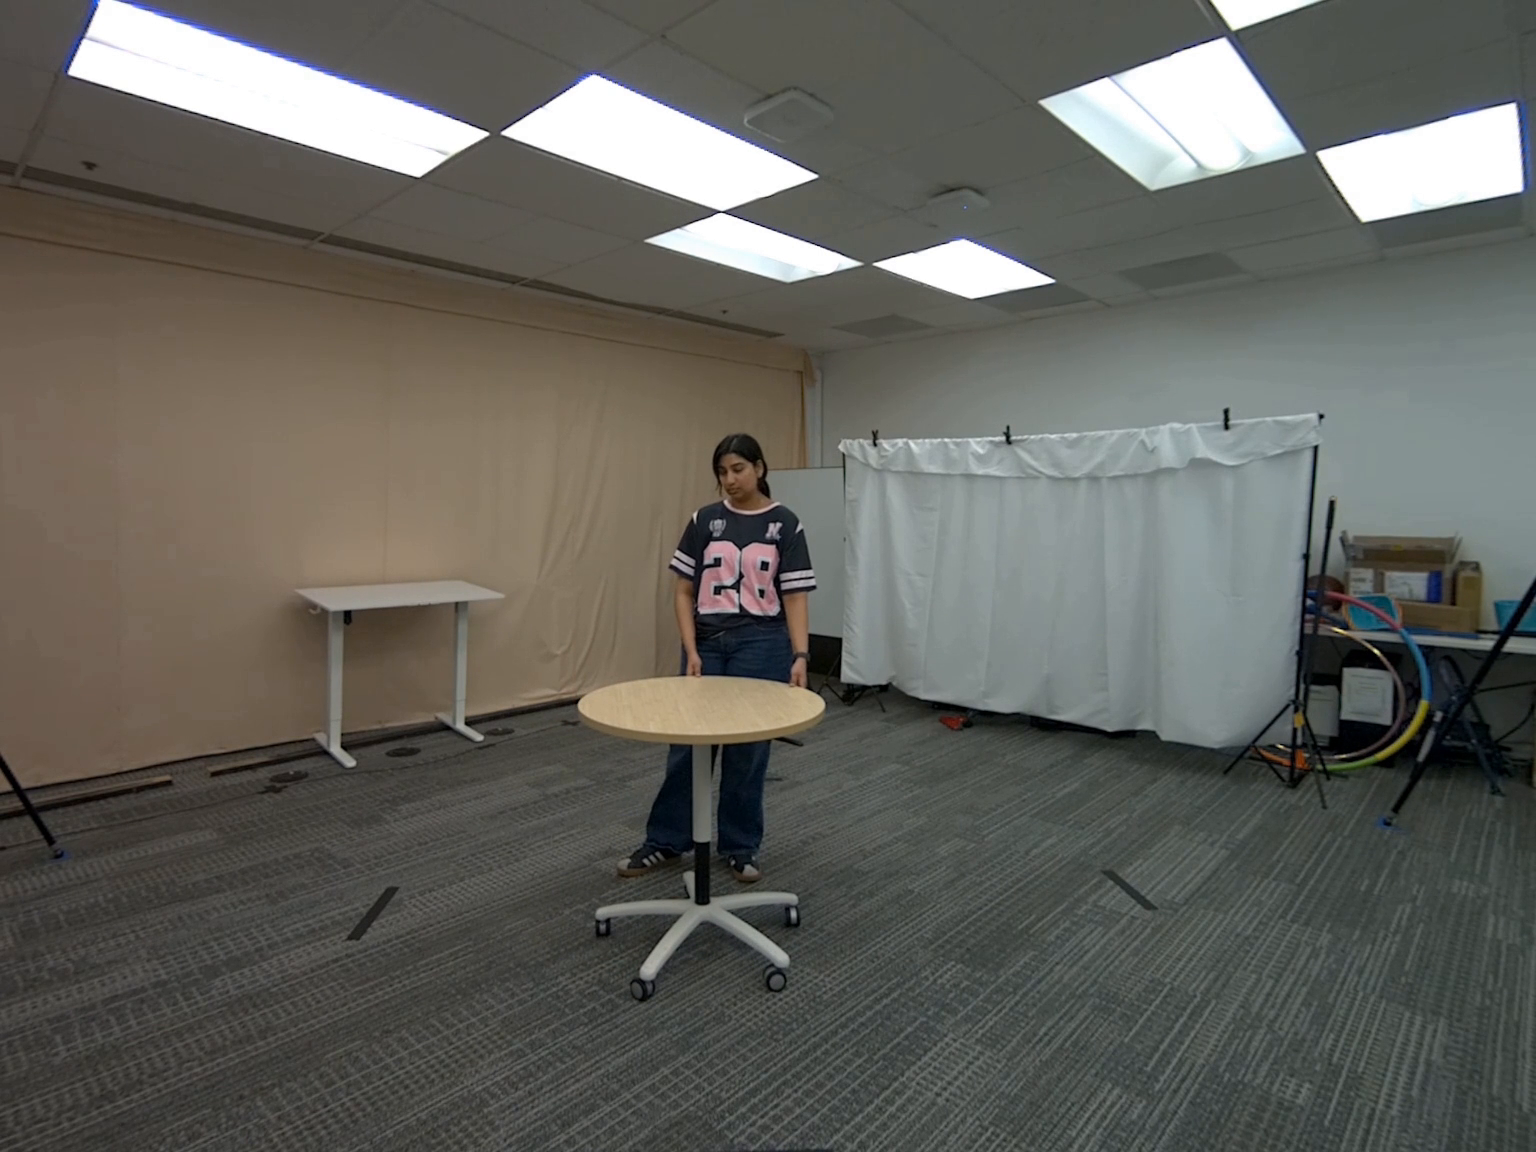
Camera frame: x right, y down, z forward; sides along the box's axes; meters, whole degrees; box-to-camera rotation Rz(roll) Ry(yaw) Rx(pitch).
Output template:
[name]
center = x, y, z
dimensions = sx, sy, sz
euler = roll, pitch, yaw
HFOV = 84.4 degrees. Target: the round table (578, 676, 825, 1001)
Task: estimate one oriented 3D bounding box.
[round table]
center = -0.207, 0.781, 2.654
dimensions = 0.763, 0.792, 0.767
euler = 0, 4, -2
